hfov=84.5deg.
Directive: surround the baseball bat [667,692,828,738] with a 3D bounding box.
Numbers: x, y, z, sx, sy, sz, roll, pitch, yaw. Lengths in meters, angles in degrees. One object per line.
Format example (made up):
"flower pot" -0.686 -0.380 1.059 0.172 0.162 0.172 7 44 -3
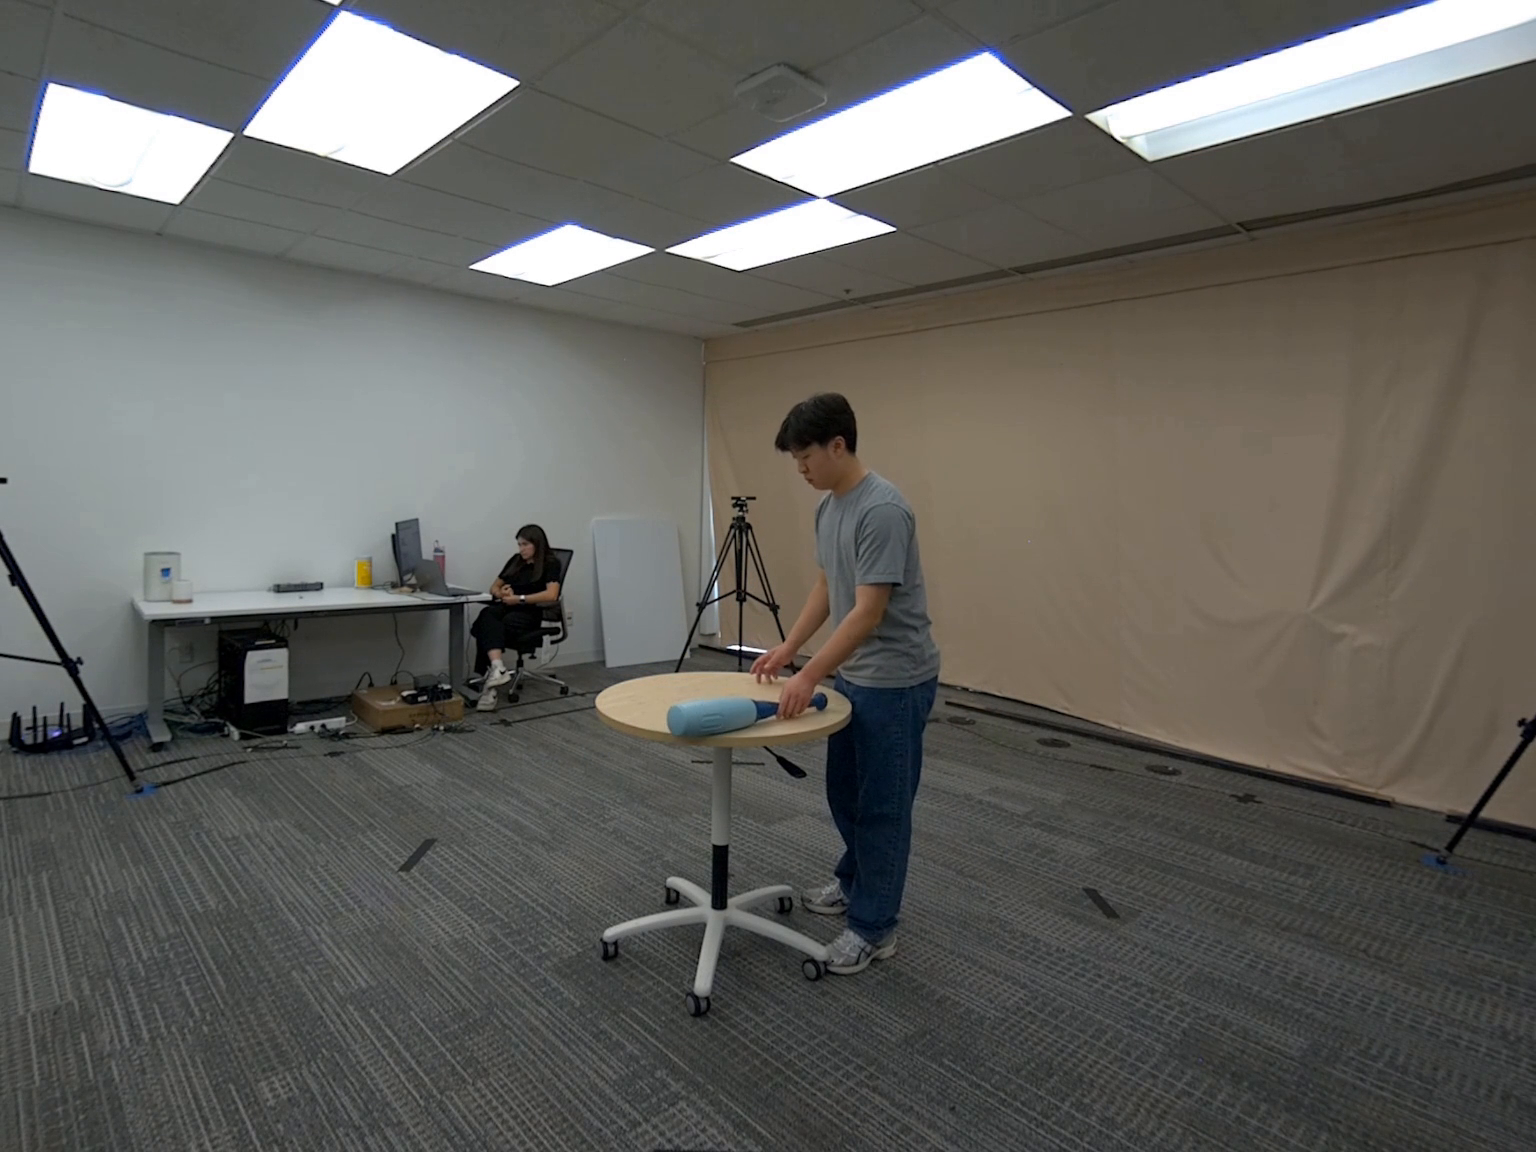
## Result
"baseball bat" -0.046 0.372 2.278 0.530 0.089 0.091 2 3 -41
